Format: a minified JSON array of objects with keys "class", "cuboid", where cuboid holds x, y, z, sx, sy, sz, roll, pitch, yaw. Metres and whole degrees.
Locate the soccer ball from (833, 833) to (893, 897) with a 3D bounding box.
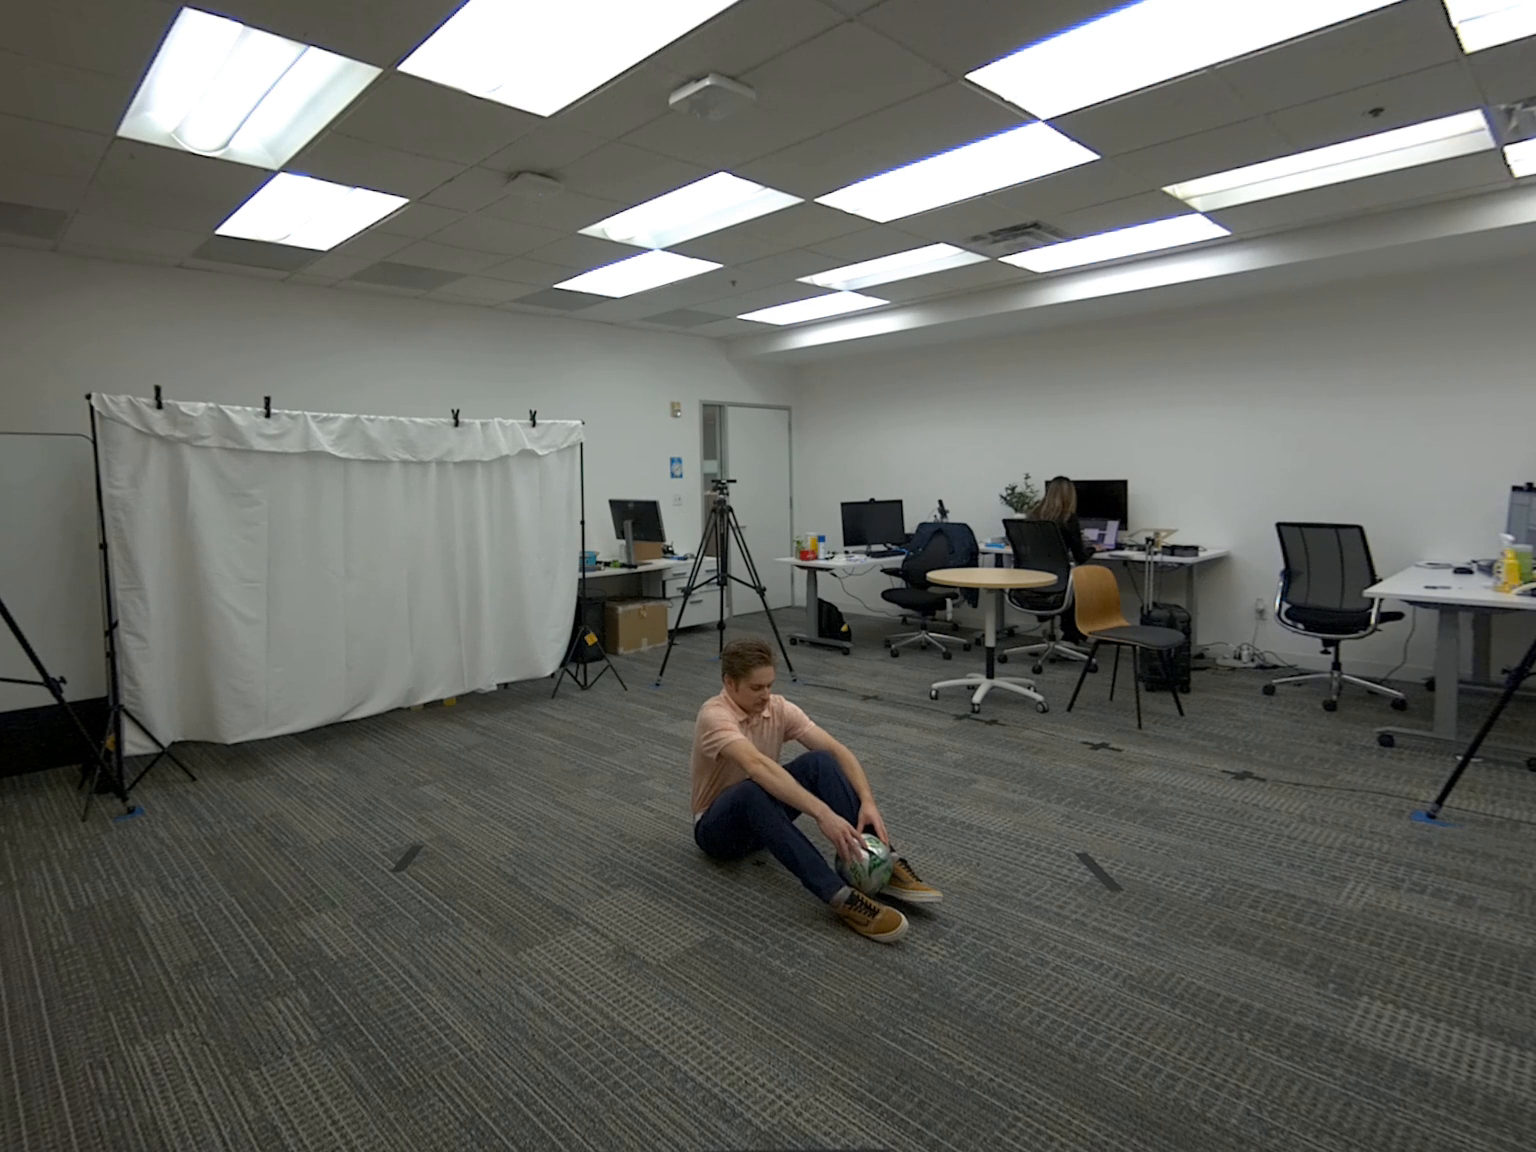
[{"class":"soccer ball","cuboid":[0.300,0.939,2.774,0.187,0.187,0.188,-1,5,-2]}]
